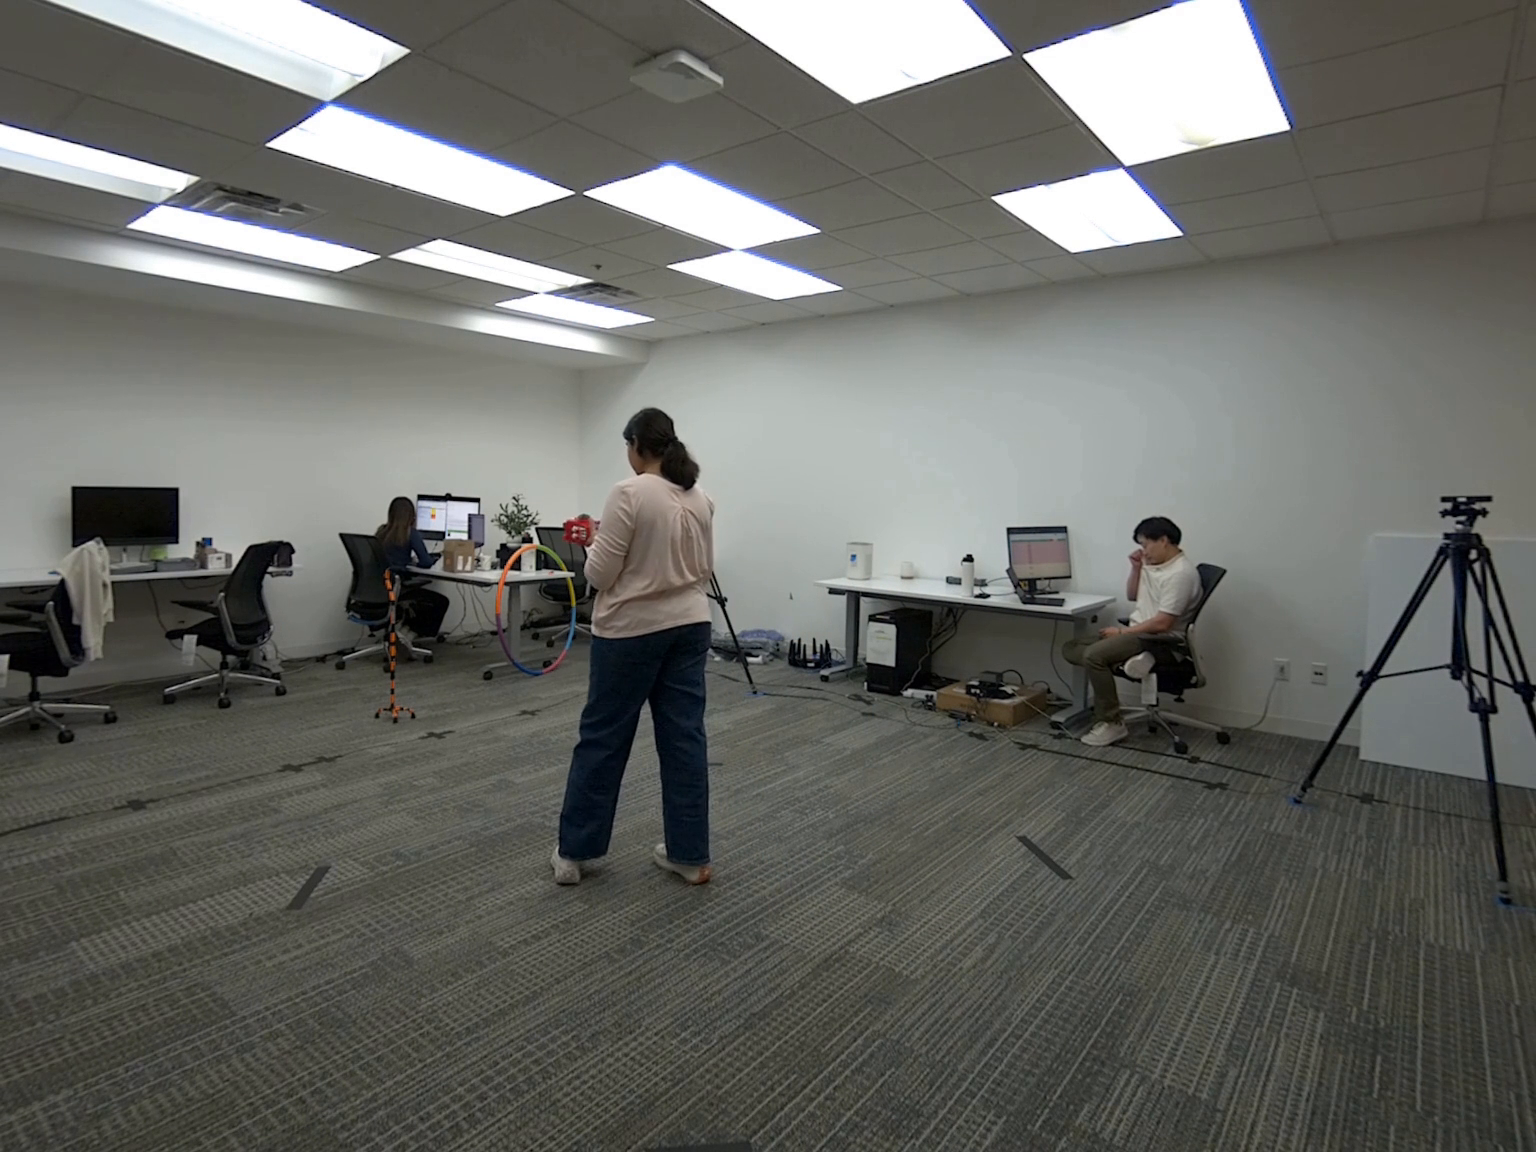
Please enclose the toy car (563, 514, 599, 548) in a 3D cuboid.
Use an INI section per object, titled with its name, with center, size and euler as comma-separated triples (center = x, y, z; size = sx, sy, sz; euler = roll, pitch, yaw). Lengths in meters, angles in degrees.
[toy car]
center = -0.667, -0.174, 3.252
size = 0.253, 0.128, 0.085
euler = 2, 21, -4
